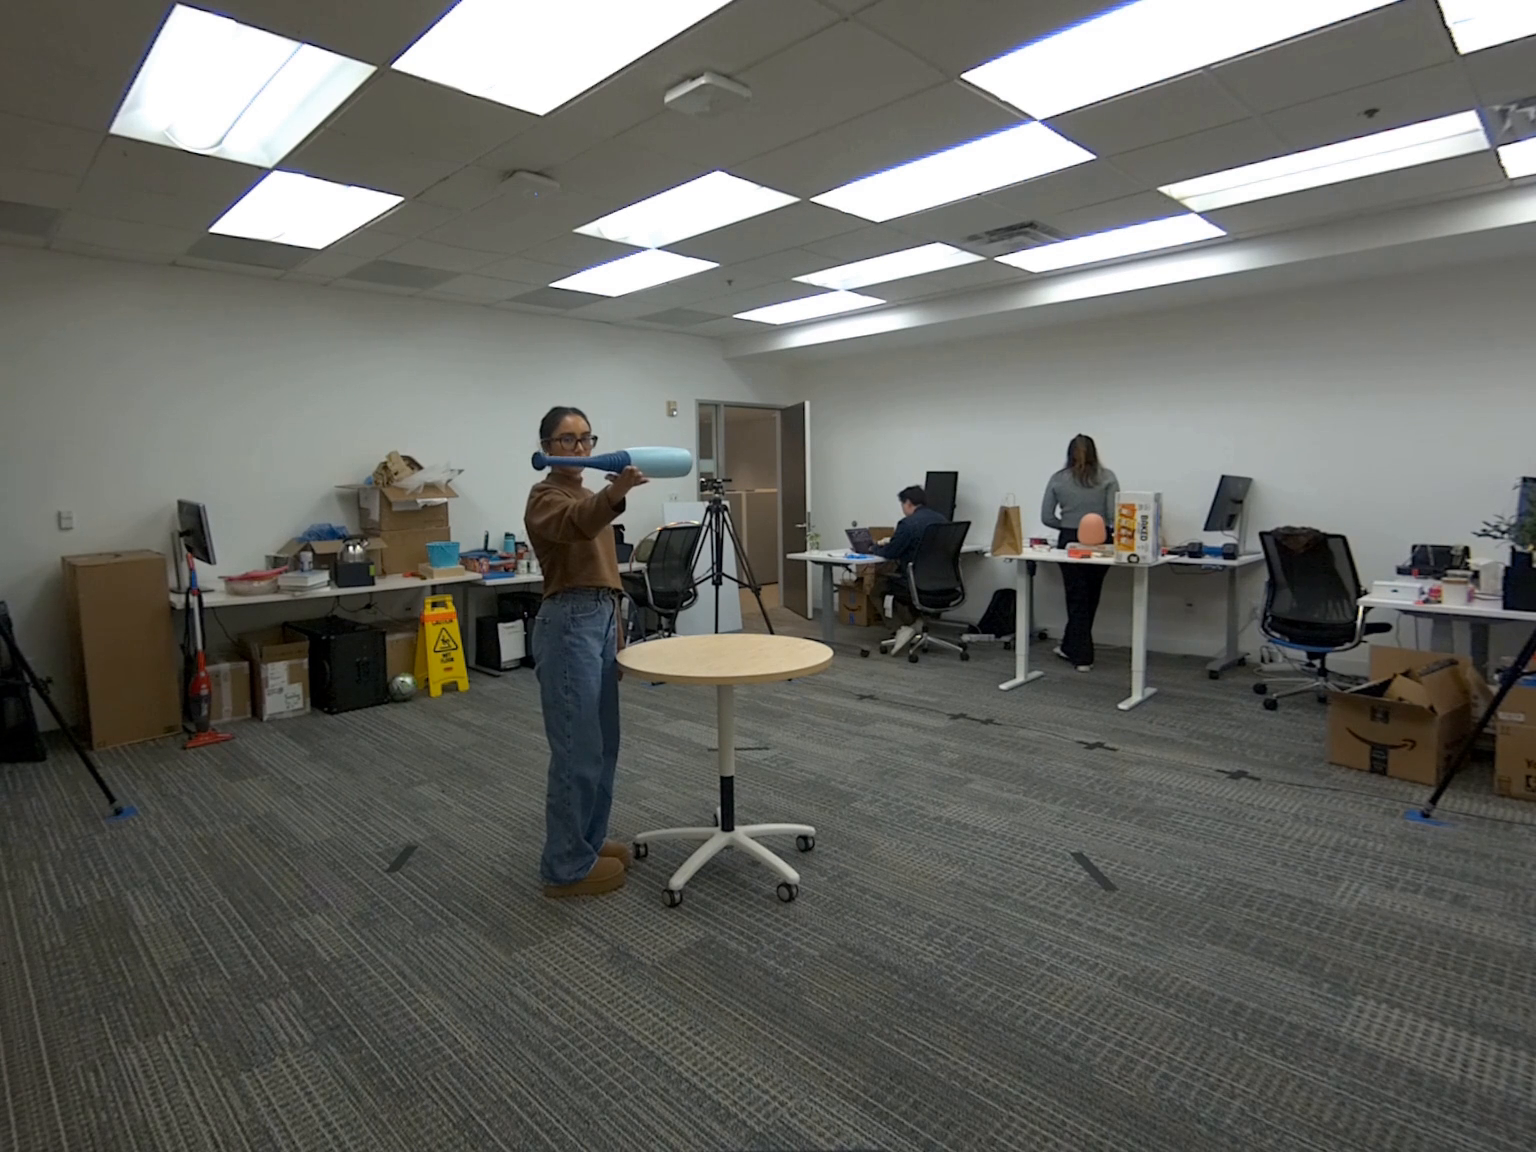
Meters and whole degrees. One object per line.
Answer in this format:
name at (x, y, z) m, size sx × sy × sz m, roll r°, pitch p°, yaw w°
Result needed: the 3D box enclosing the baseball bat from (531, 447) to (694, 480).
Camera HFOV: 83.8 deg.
baseball bat at (-0.404, -0.309, 2.325) m, size 0.092 × 0.088 × 0.529 m, roll 3°, pitch 8°, yaw 38°
